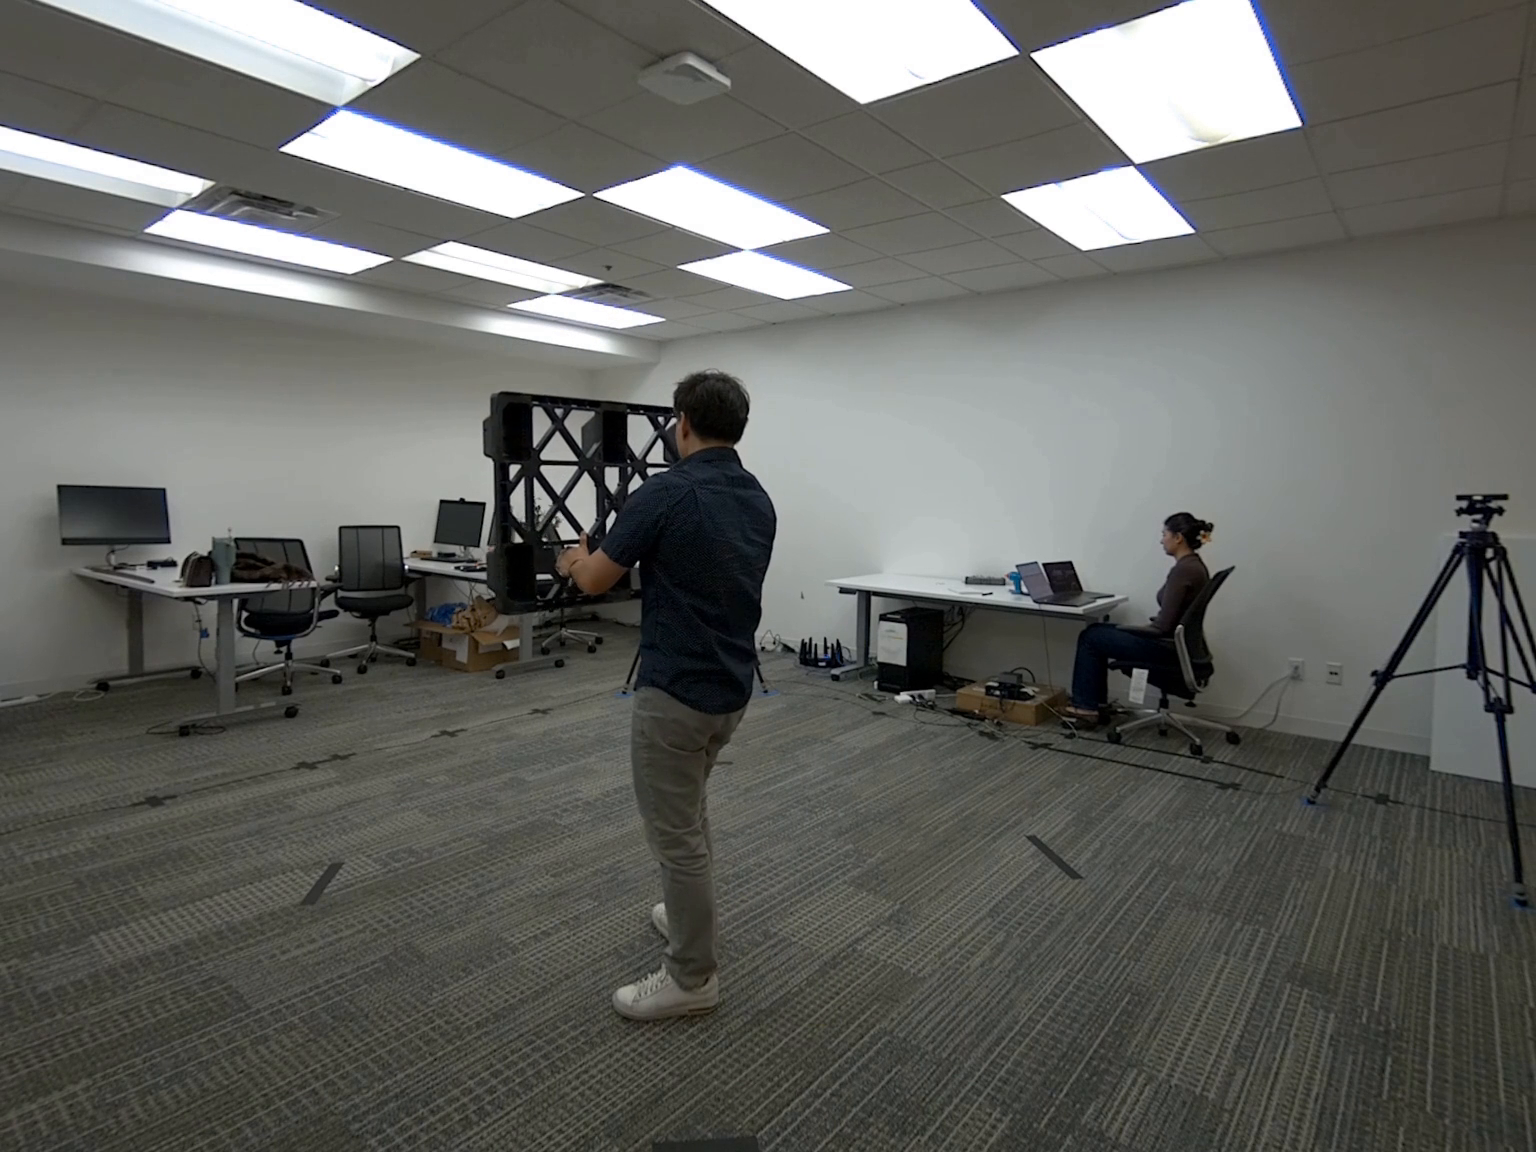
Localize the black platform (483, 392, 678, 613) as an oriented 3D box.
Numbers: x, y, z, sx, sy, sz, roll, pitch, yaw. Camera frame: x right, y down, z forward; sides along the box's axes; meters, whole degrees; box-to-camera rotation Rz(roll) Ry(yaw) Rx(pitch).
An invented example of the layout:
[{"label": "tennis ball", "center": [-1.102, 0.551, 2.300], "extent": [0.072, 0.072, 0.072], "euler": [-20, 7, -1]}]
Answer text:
[{"label": "black platform", "center": [-0.511, -0.230, 2.581], "extent": [0.148, 0.603, 0.782], "euler": [1, 4, 42]}]
